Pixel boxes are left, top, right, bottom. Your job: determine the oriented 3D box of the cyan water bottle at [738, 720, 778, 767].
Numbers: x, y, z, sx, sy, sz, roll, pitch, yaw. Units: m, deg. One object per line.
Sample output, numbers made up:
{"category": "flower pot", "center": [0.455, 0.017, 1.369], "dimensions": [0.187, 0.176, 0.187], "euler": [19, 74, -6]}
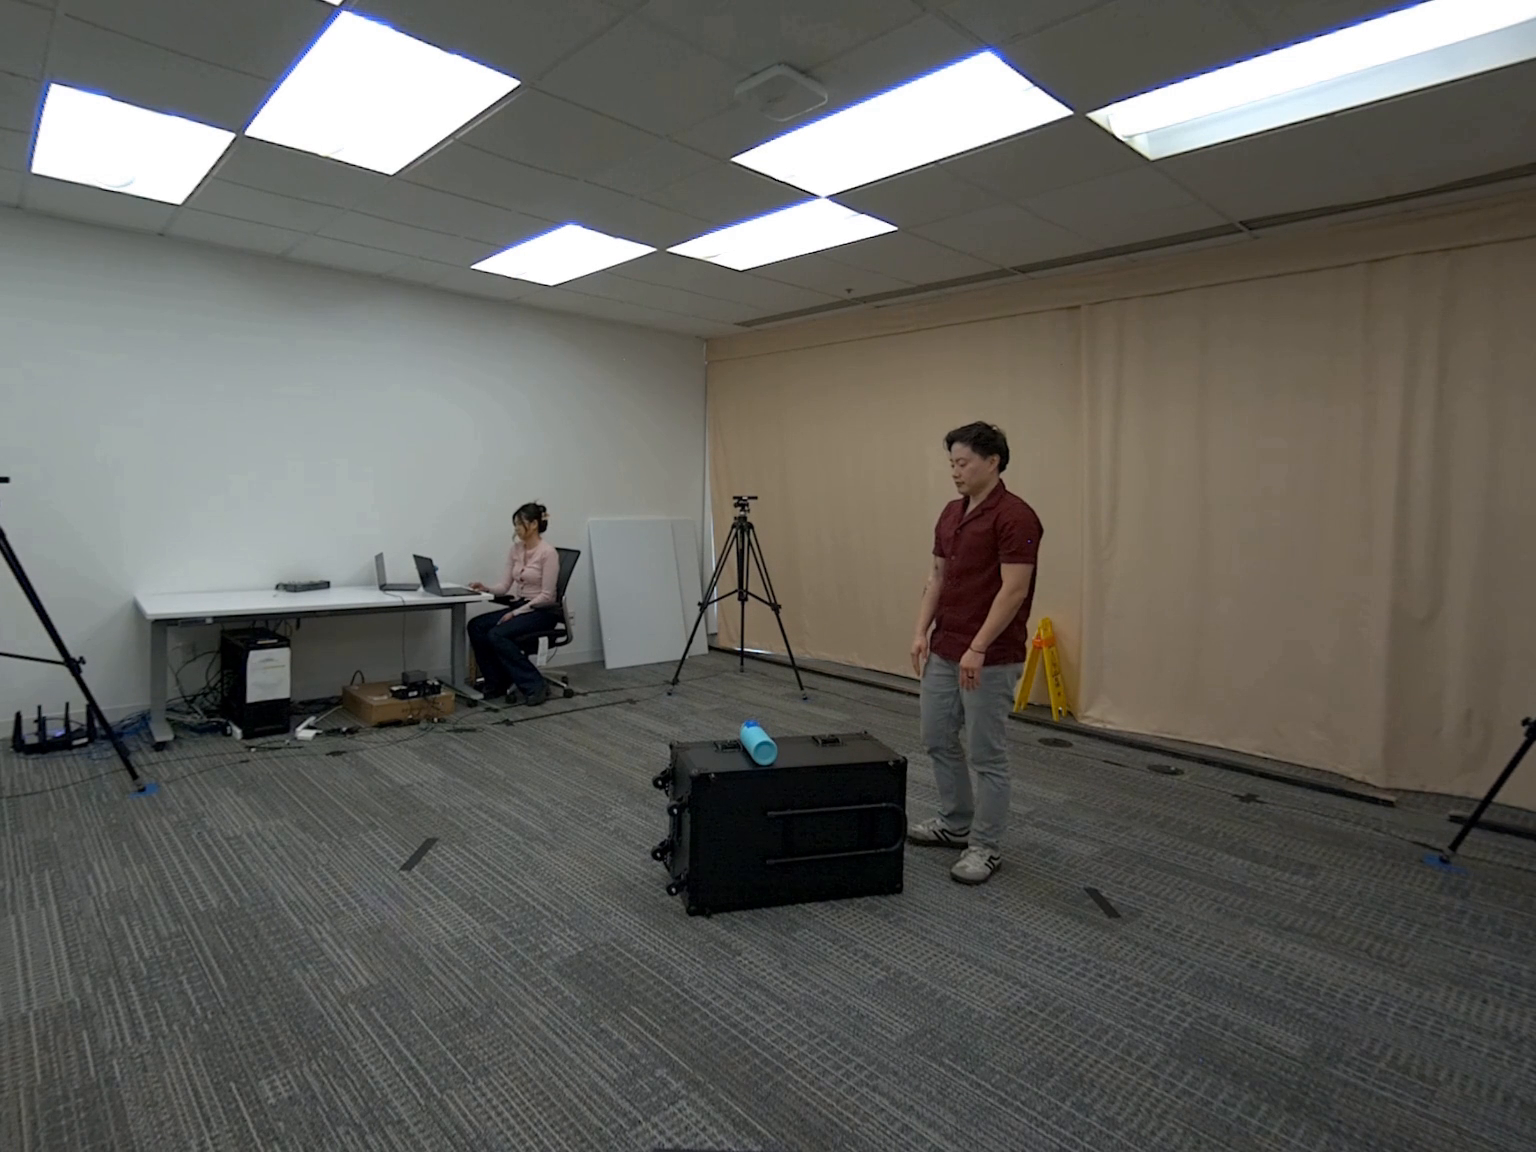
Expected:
{"category": "cyan water bottle", "center": [-0.048, 0.585, 2.987], "dimensions": [0.092, 0.092, 0.286], "euler": [1, 5, -9]}
